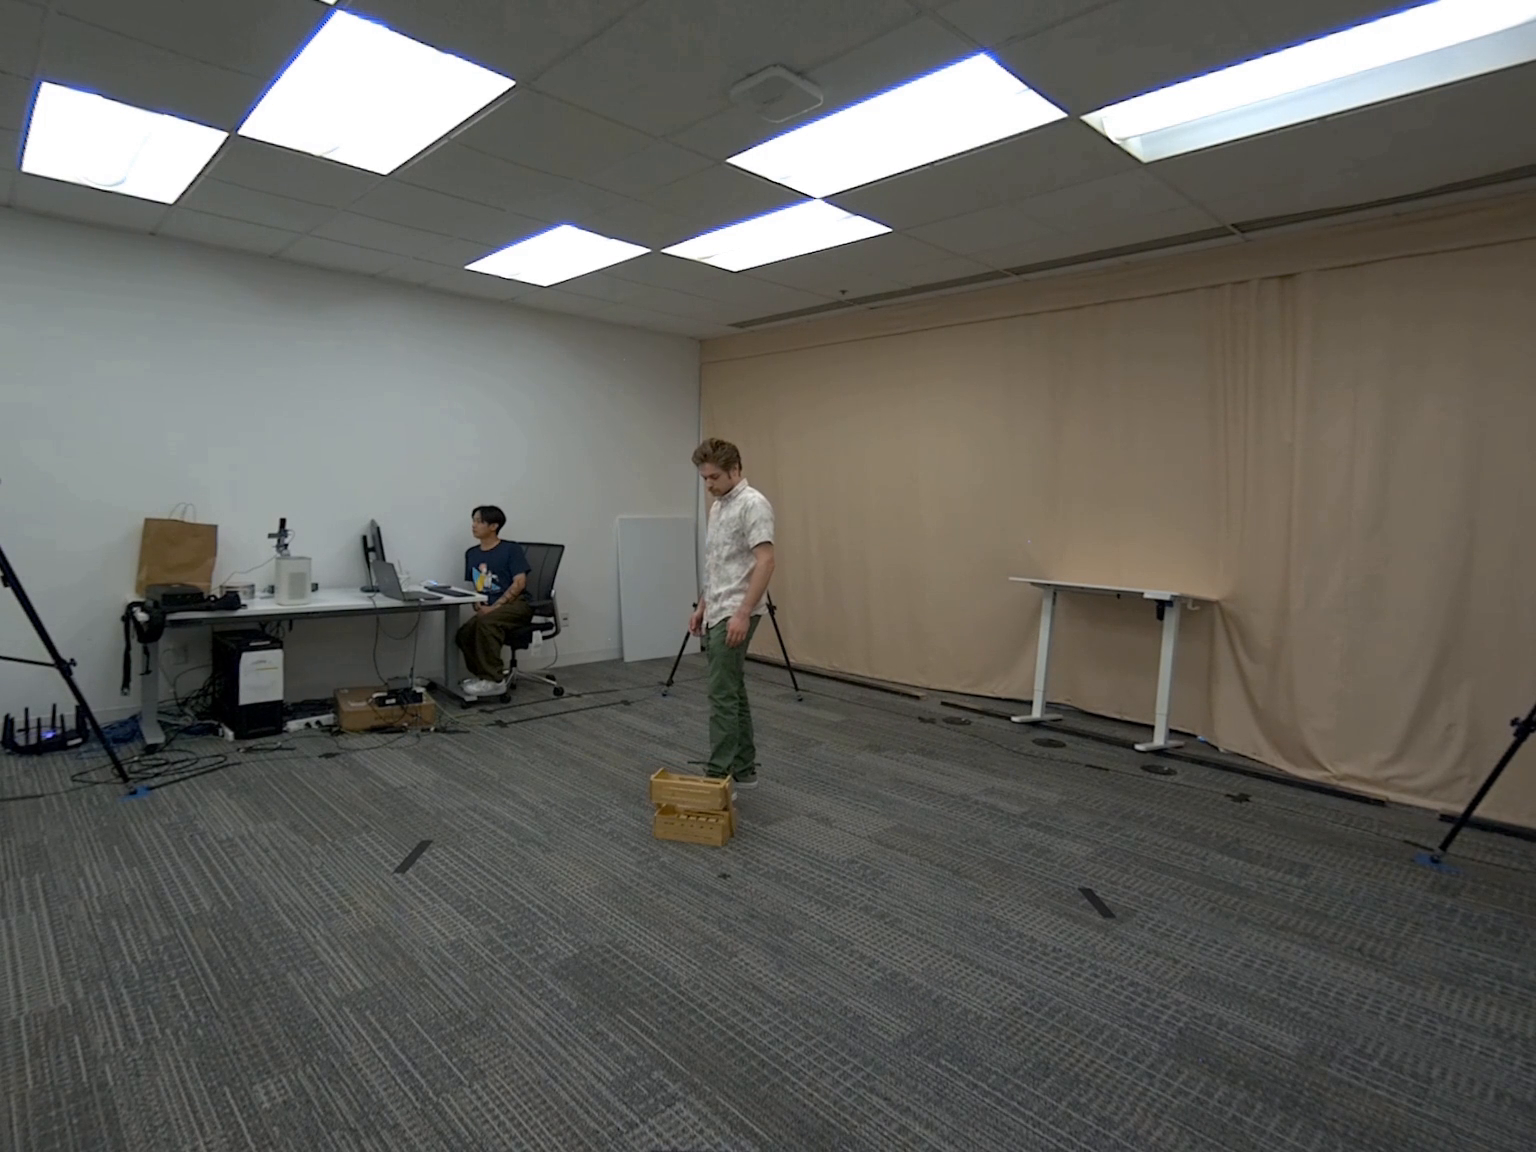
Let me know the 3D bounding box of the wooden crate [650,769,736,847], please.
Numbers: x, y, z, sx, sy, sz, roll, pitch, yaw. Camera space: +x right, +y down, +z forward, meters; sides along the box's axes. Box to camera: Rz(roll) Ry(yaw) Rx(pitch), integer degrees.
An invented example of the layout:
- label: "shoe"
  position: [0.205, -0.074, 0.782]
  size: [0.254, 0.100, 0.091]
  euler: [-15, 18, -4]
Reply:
- label: "wooden crate"
  position: [-0.311, 0.937, 3.498]
  size: [0.328, 0.272, 0.299]
  euler: [3, 5, 13]
